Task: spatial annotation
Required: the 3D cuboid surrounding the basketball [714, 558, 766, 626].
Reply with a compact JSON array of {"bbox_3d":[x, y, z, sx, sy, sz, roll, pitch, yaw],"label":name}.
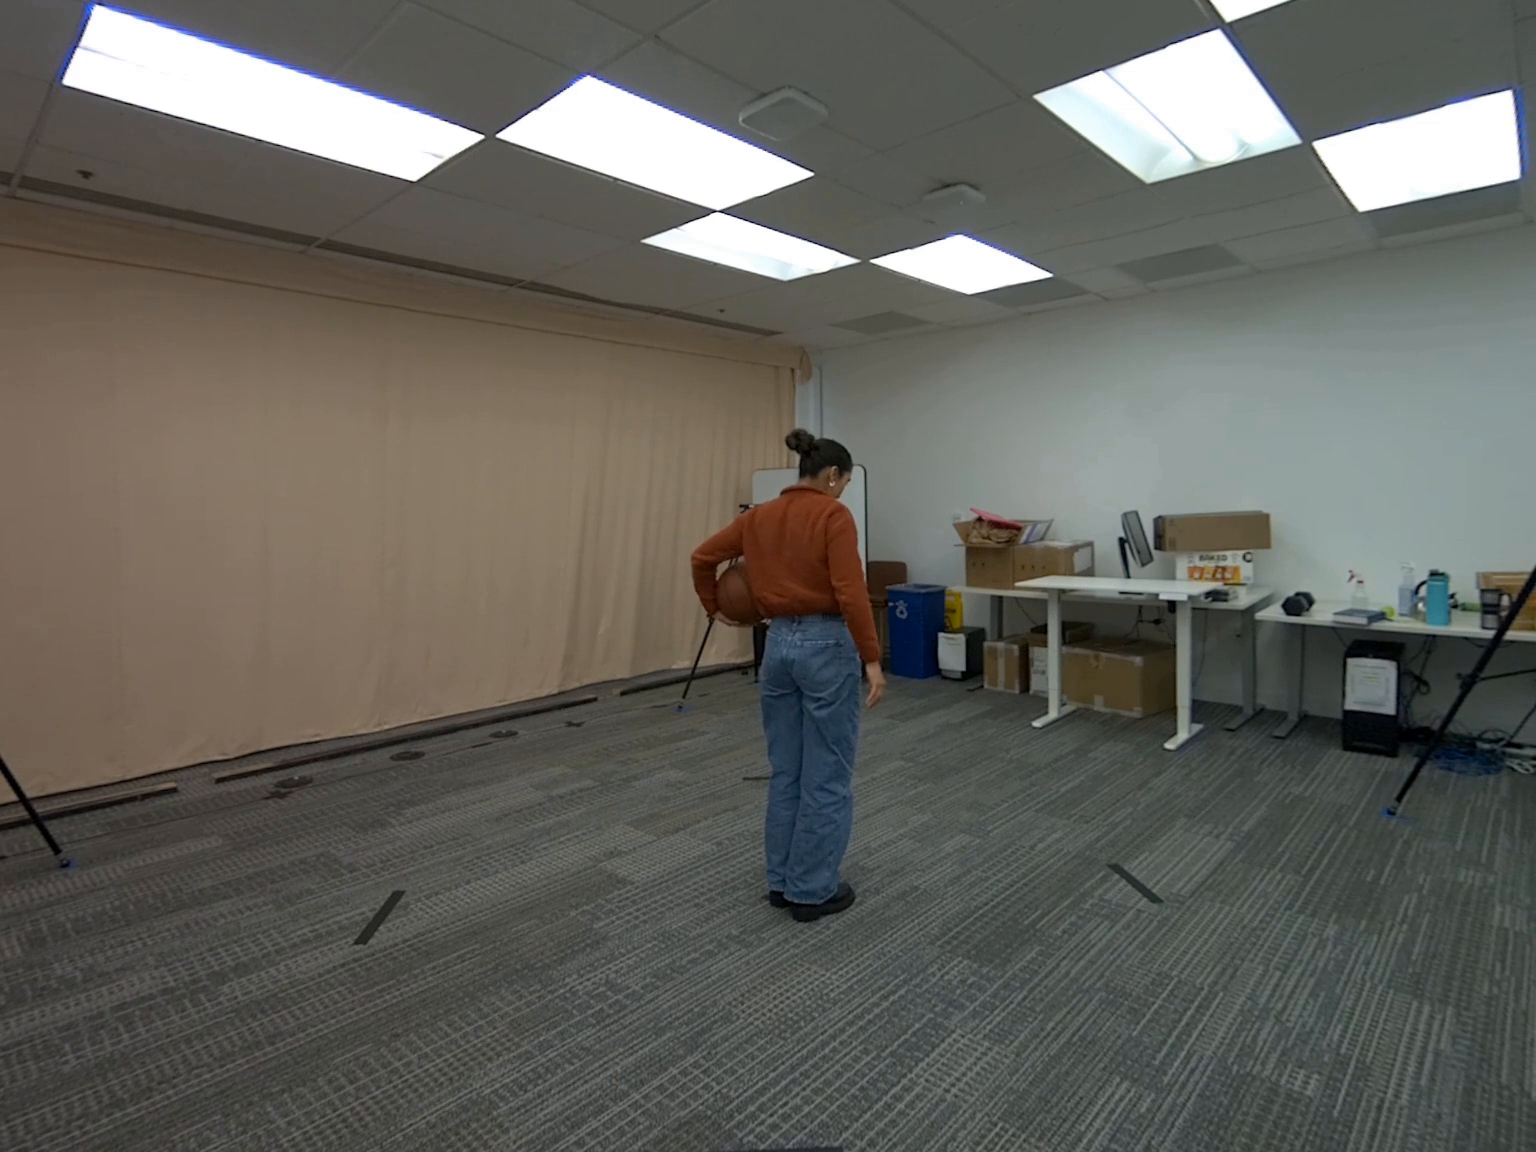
[{"bbox_3d":[-0.062,0.061,3.110,0.236,0.235,0.237,-1,4,-2],"label":"basketball"}]
